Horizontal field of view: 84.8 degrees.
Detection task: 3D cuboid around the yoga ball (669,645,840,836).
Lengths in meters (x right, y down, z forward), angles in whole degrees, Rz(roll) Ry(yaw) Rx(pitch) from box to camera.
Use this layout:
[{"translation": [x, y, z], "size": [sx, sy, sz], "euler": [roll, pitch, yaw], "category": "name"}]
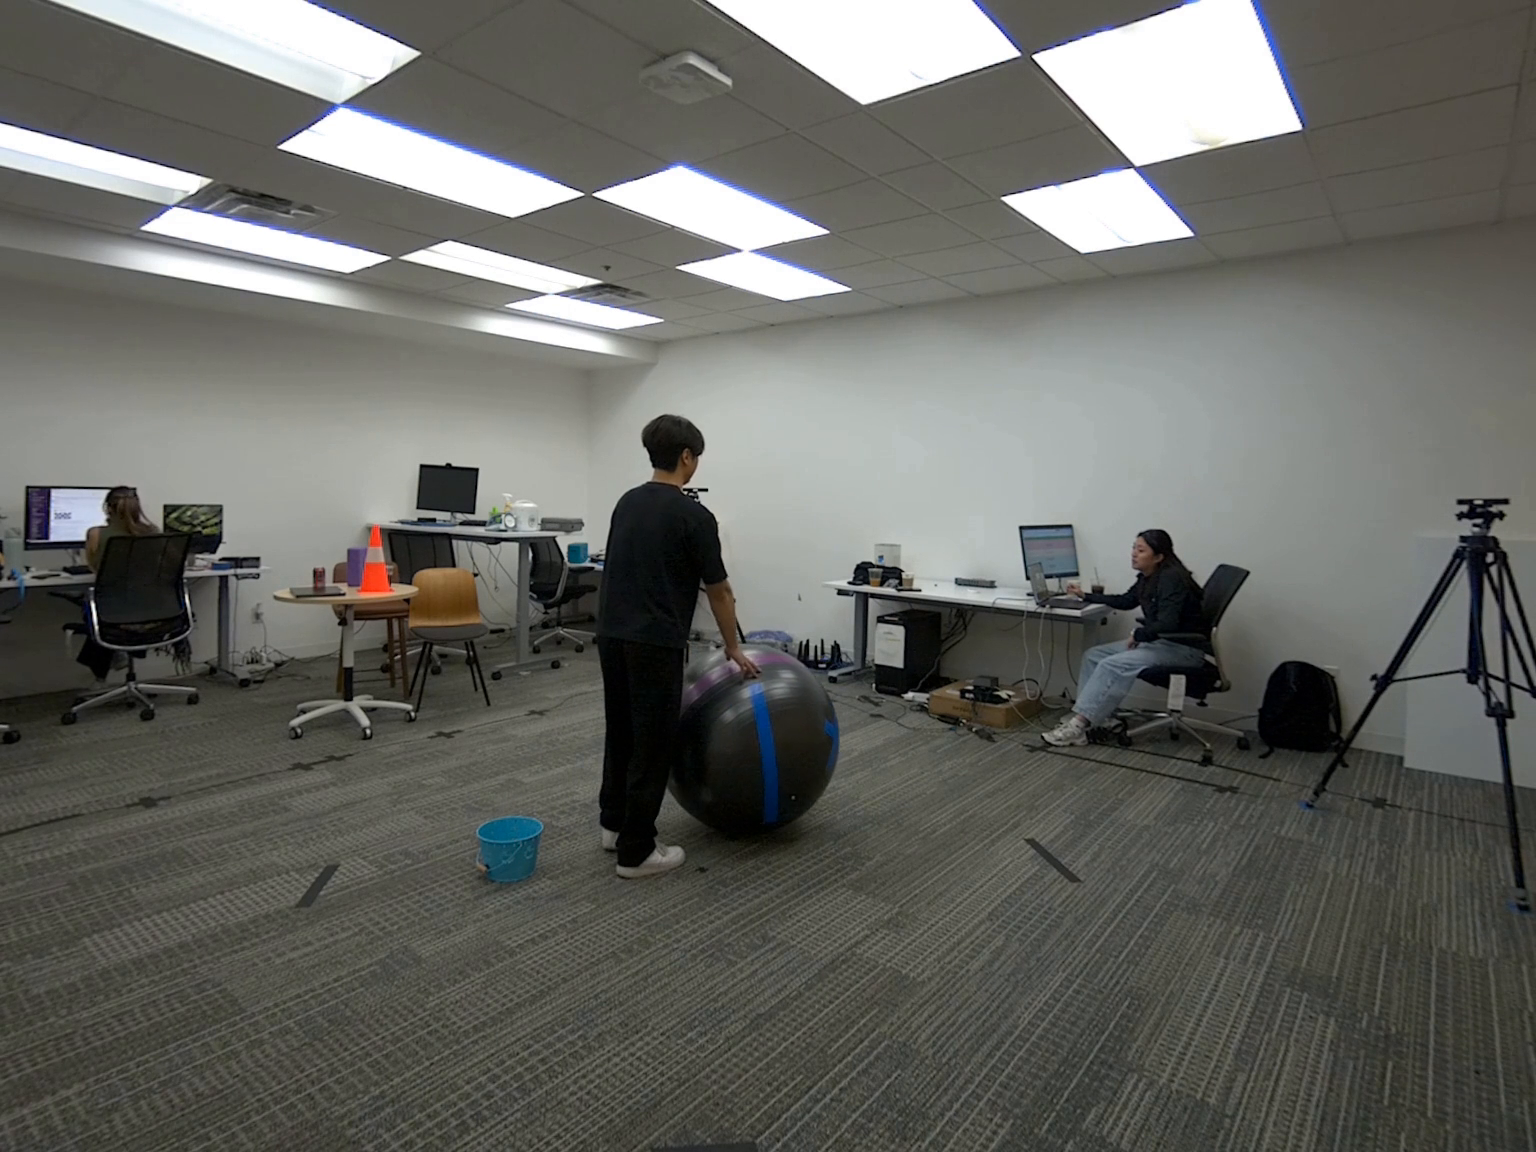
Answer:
[{"translation": [-0.086, 0.667, 3.502], "size": [0.757, 0.755, 0.762], "euler": [1, 4, -2], "category": "yoga ball"}]
